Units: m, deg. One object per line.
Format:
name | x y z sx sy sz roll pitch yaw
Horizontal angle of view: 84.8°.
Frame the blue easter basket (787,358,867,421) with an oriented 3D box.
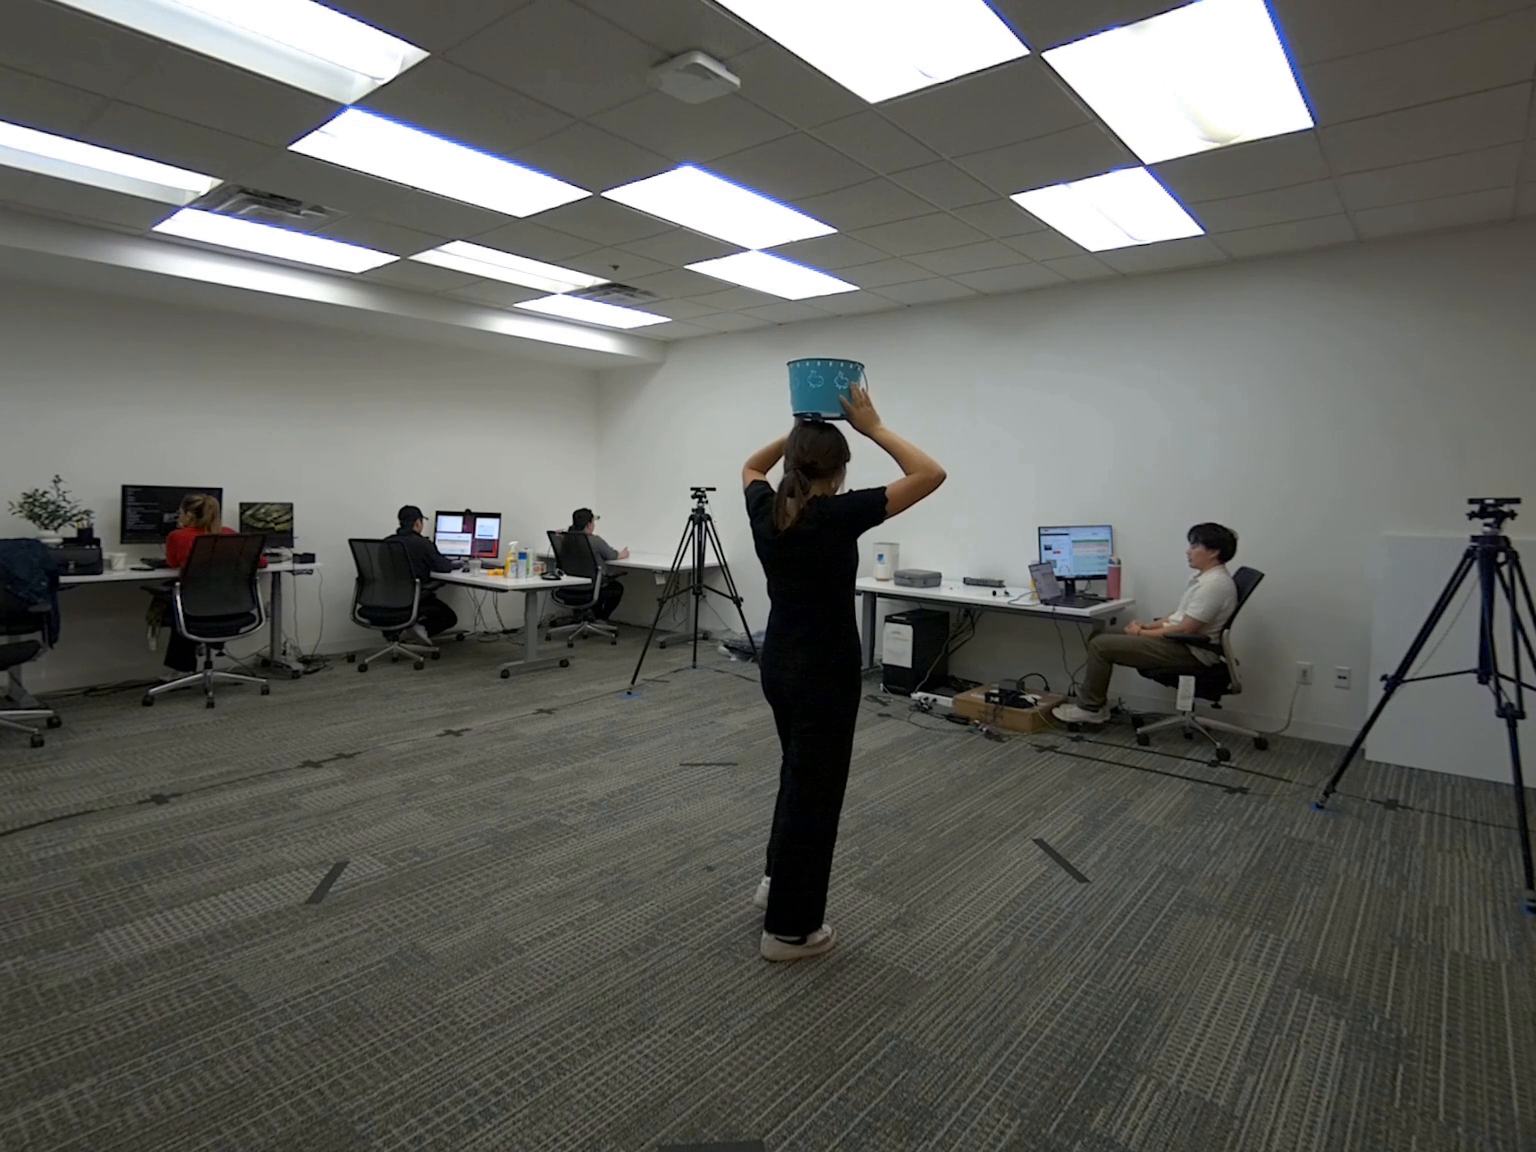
blue easter basket | 0.170 -0.546 2.511 0.243 0.155 0.245 2 5 -2
